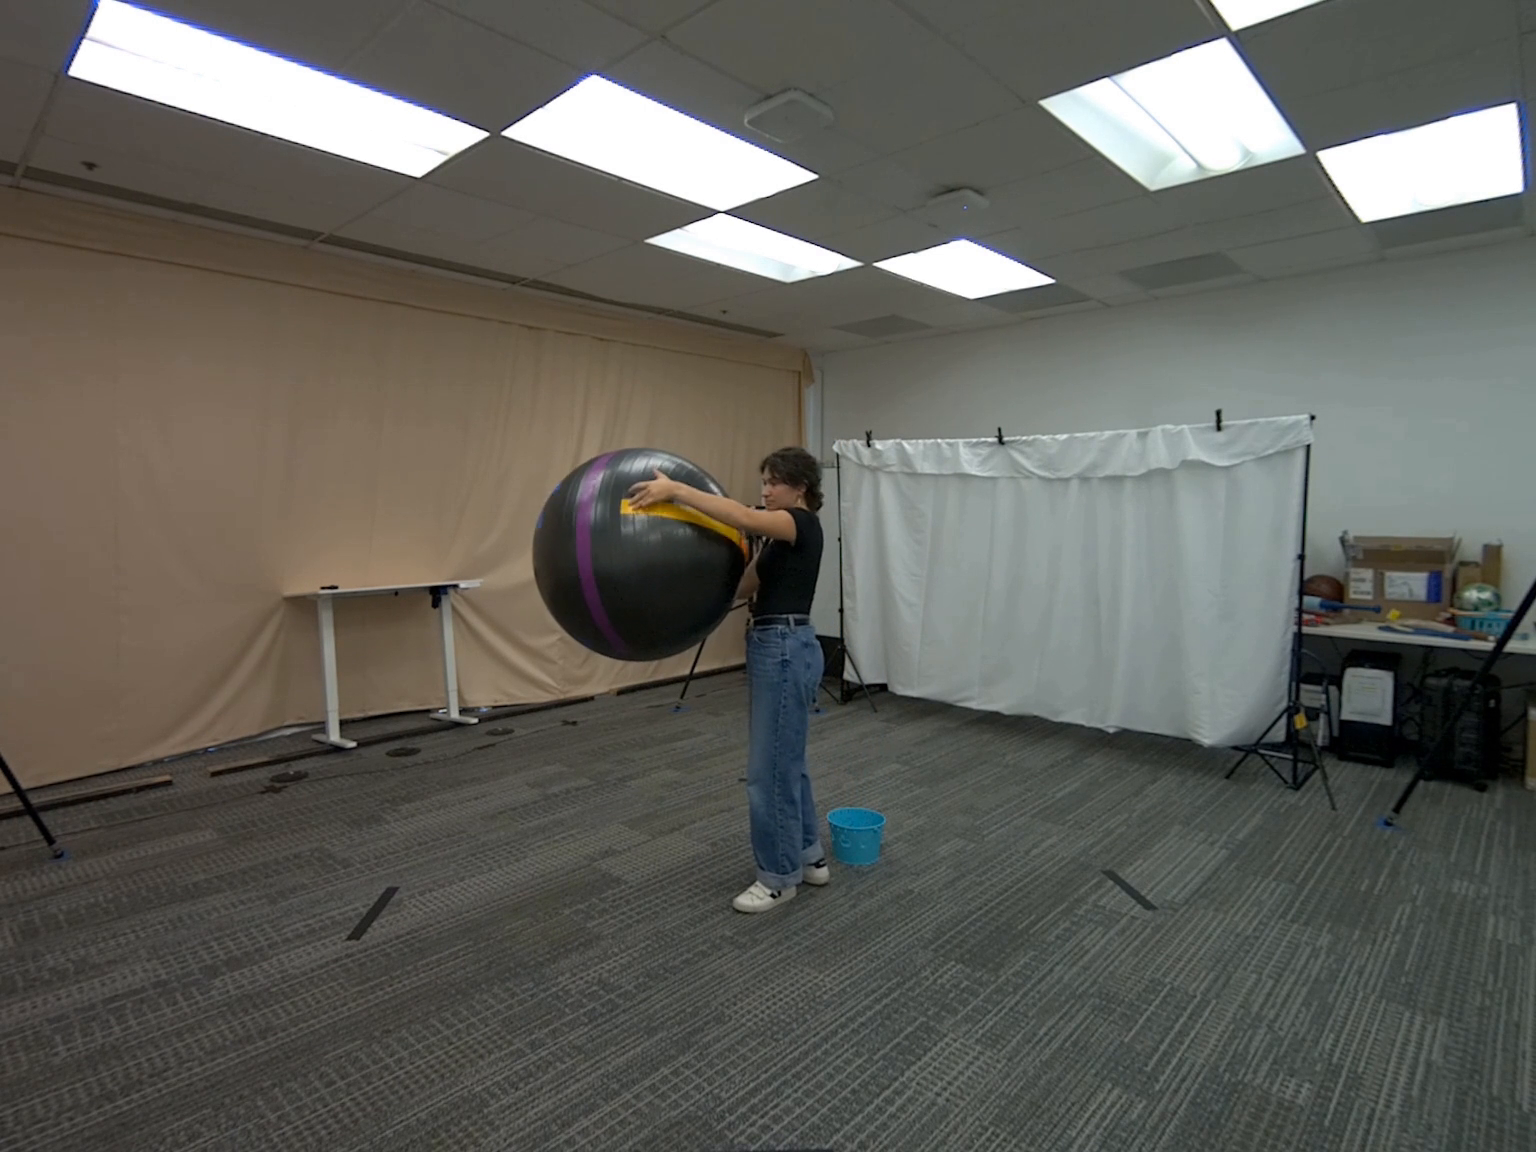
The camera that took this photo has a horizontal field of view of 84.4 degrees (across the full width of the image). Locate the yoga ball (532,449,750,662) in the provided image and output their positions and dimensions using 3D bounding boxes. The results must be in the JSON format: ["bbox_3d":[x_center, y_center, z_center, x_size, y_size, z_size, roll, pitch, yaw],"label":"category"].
[{"bbox_3d":[-0.462,-0.076,3.006,0.757,0.756,0.760,0,4,-2],"label":"yoga ball"}]
